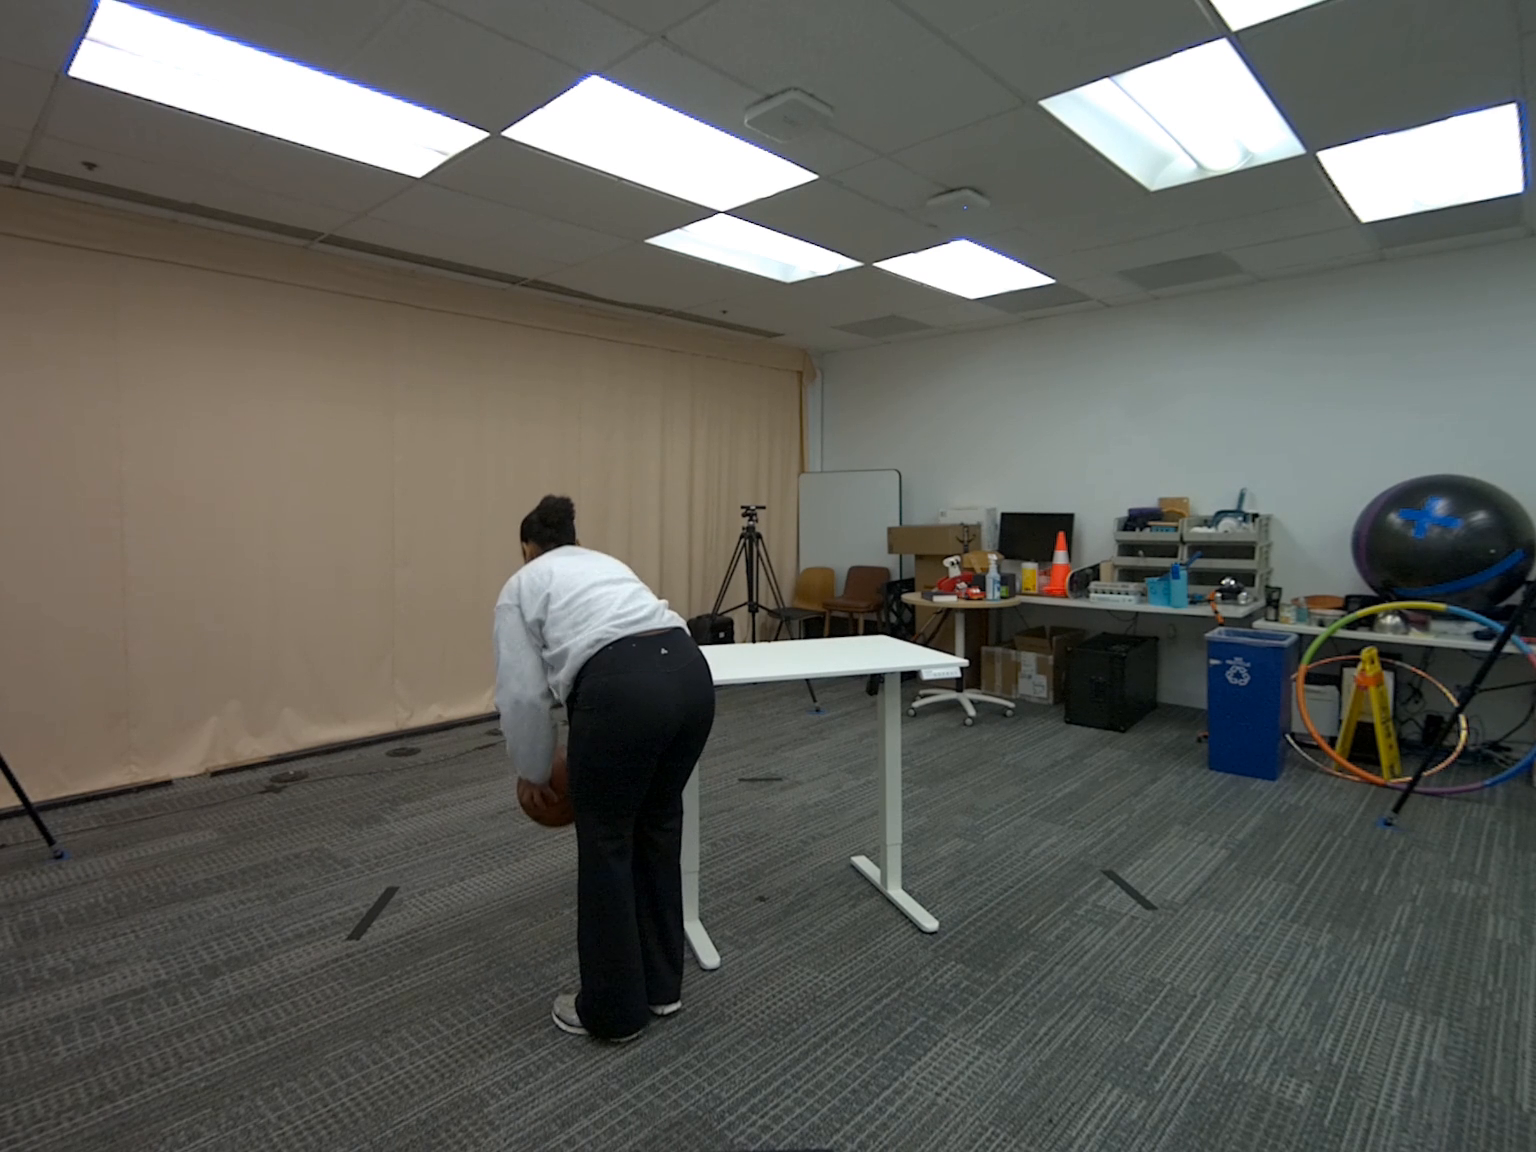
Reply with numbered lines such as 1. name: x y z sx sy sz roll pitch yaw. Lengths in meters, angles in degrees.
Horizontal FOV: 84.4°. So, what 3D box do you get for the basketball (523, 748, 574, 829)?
1. basketball: -0.623 0.624 2.514 0.236 0.235 0.237 0 4 -2
